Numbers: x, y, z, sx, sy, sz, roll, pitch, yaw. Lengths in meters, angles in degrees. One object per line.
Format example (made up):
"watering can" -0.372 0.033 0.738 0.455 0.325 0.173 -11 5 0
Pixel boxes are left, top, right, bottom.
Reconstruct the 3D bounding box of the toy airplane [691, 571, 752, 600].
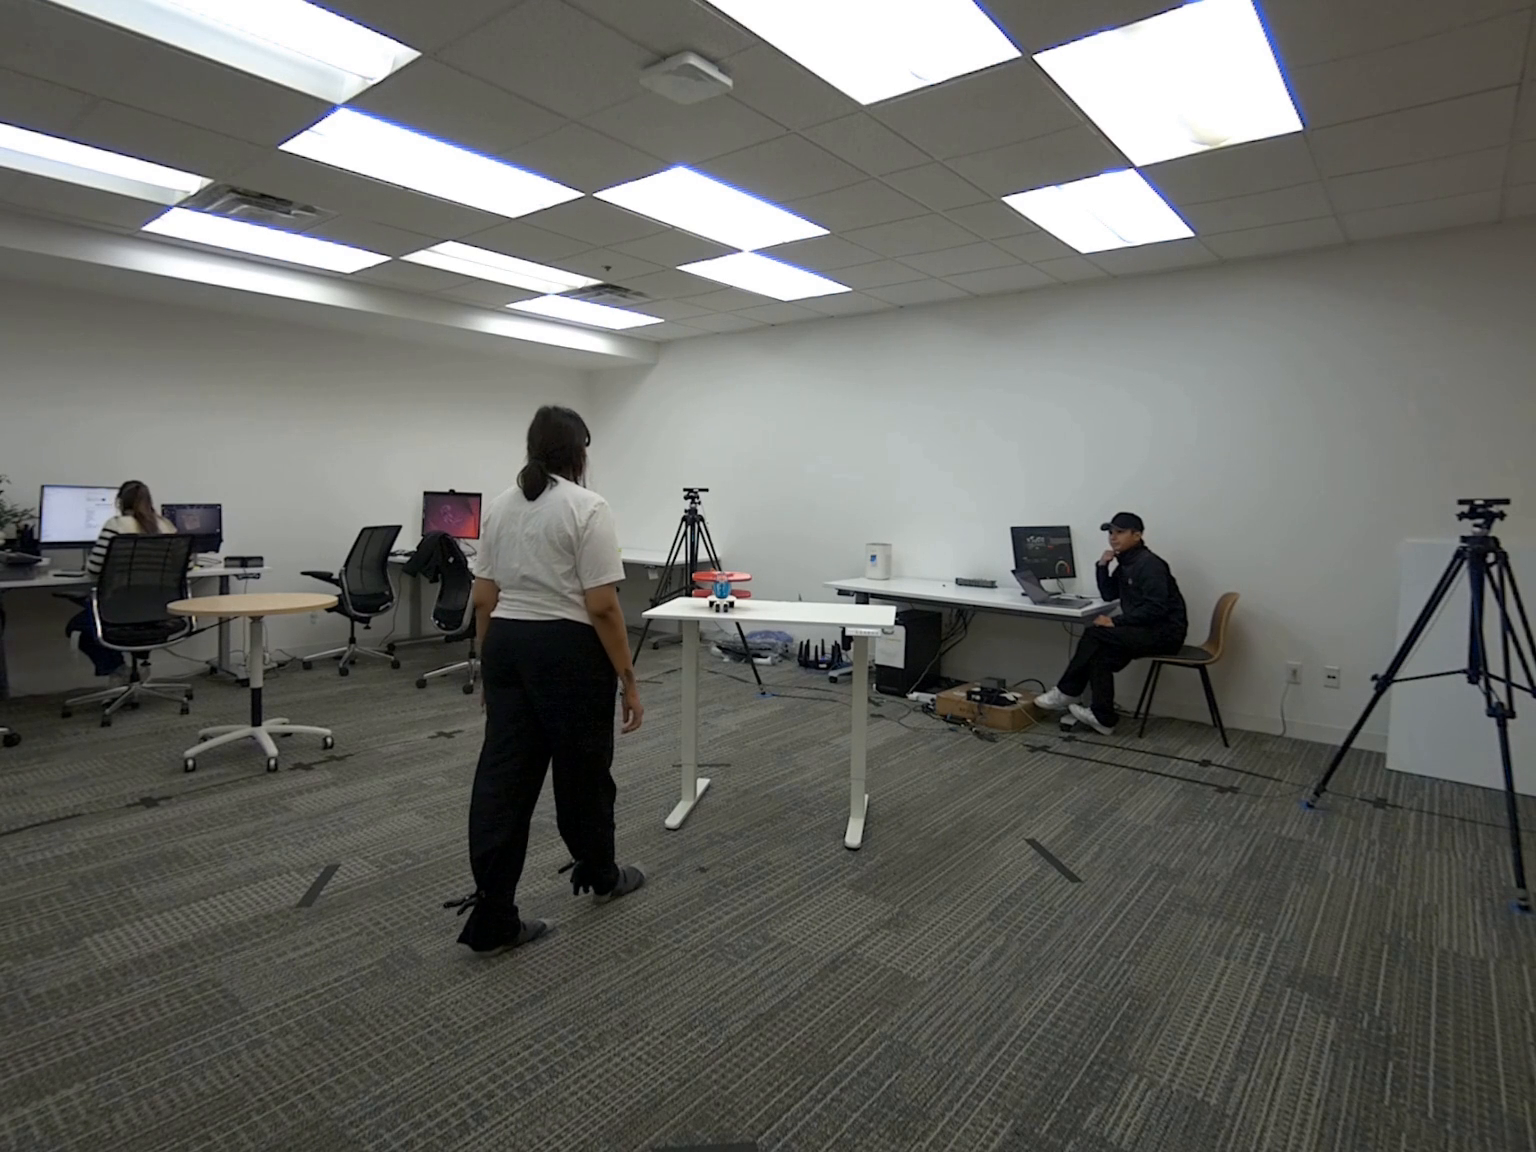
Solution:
"toy airplane" -0.192 0.059 3.641 0.244 0.156 0.266 0 3 -29
